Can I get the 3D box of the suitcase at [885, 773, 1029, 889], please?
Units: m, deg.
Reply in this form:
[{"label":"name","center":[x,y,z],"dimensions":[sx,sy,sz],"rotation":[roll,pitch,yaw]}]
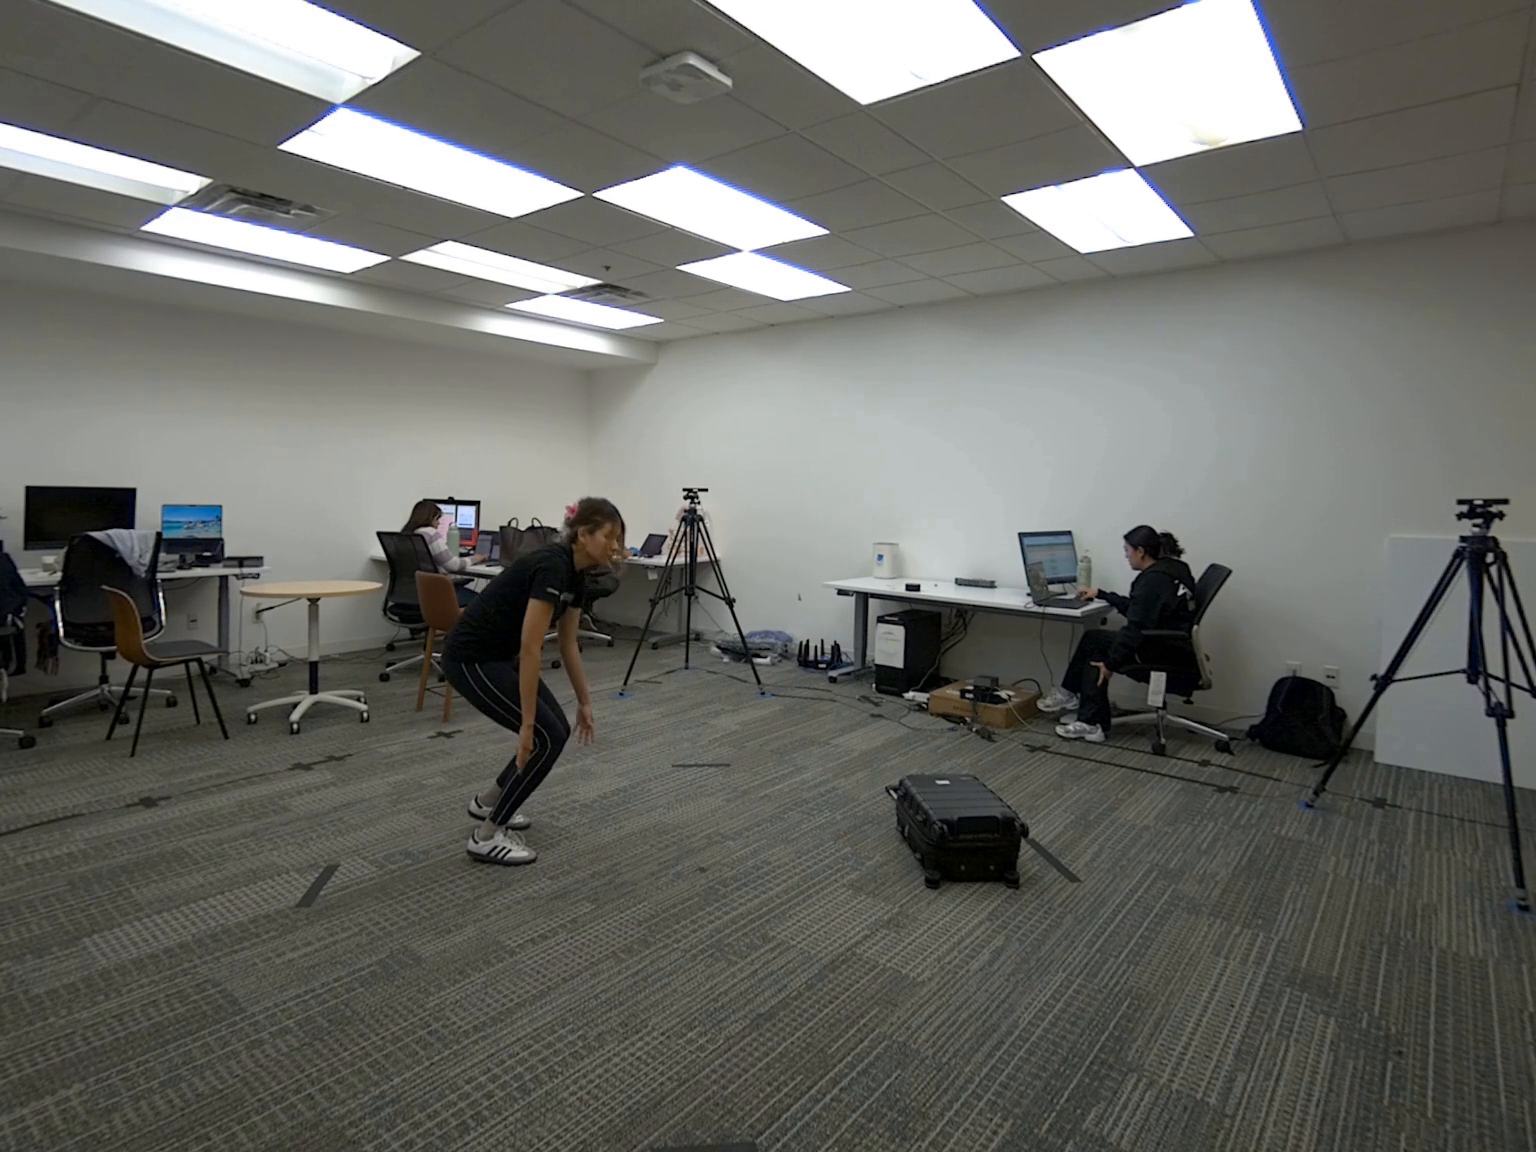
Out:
[{"label":"suitcase","center":[0.694,0.935,3.474],"dimensions":[0.382,0.255,0.989],"rotation":[-2,7,-6]}]
